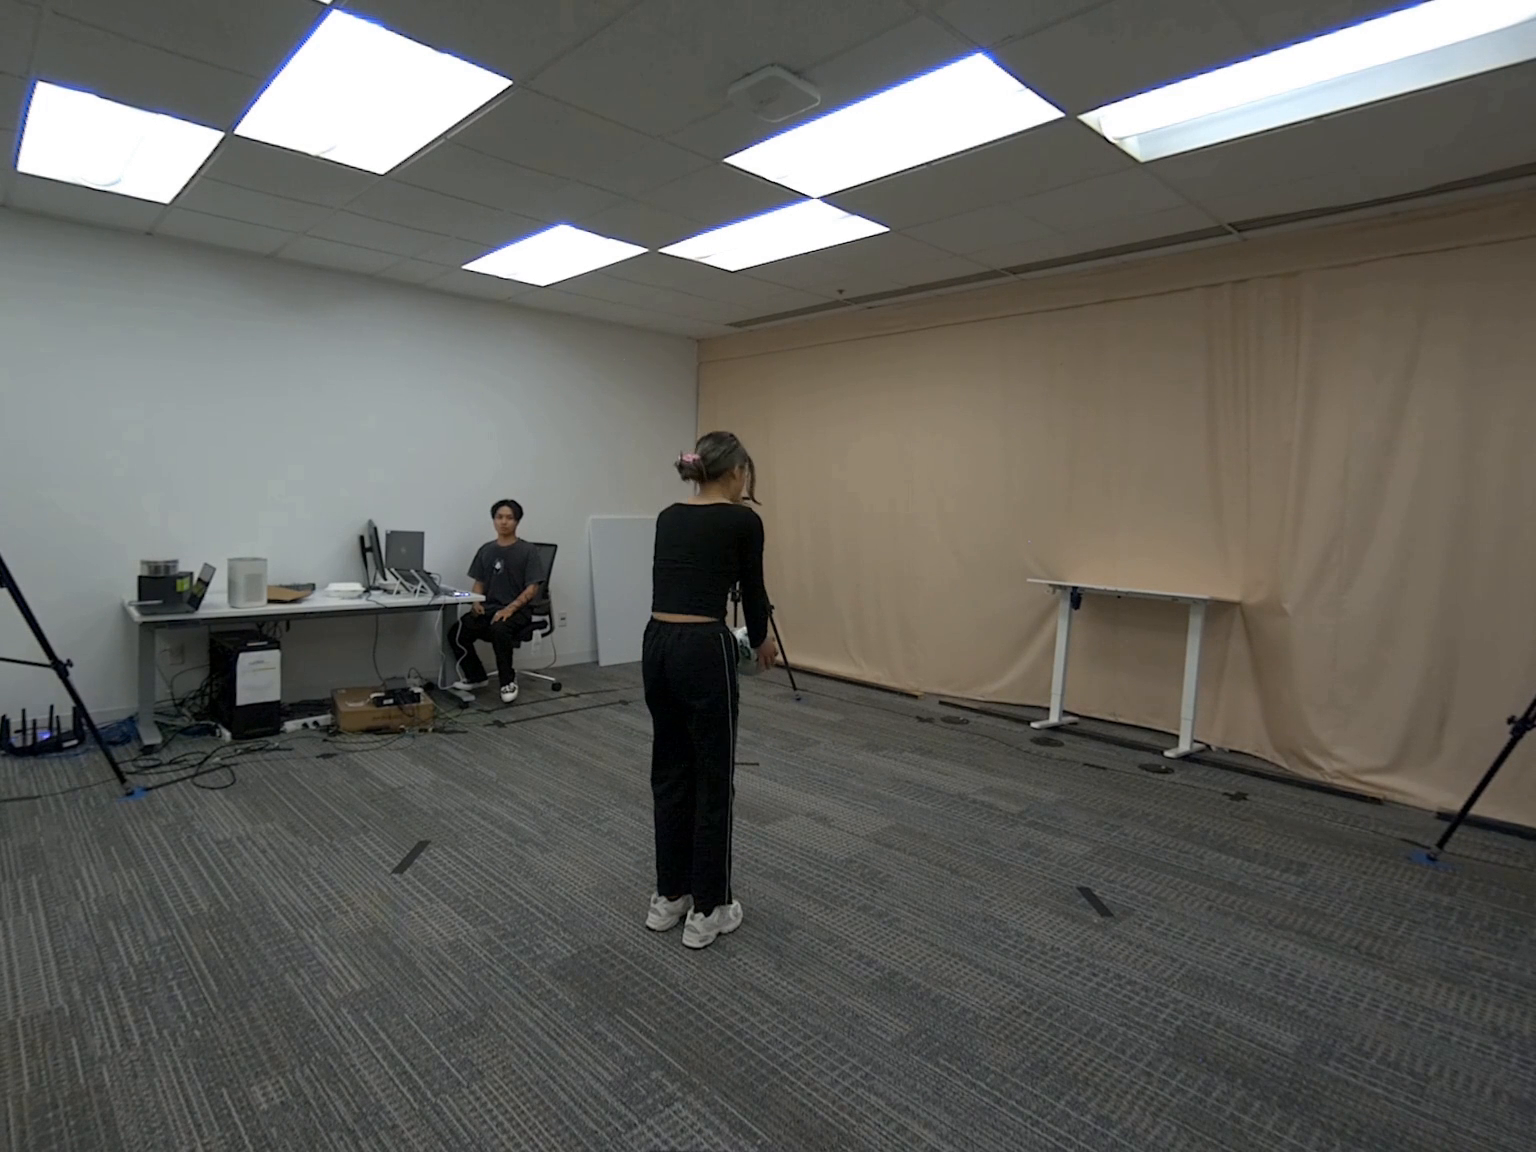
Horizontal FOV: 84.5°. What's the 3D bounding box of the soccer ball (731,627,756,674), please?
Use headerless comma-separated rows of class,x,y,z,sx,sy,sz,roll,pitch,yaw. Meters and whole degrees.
soccer ball,-0.072,0.296,3.092,0.187,0.187,0.188,1,4,-1
